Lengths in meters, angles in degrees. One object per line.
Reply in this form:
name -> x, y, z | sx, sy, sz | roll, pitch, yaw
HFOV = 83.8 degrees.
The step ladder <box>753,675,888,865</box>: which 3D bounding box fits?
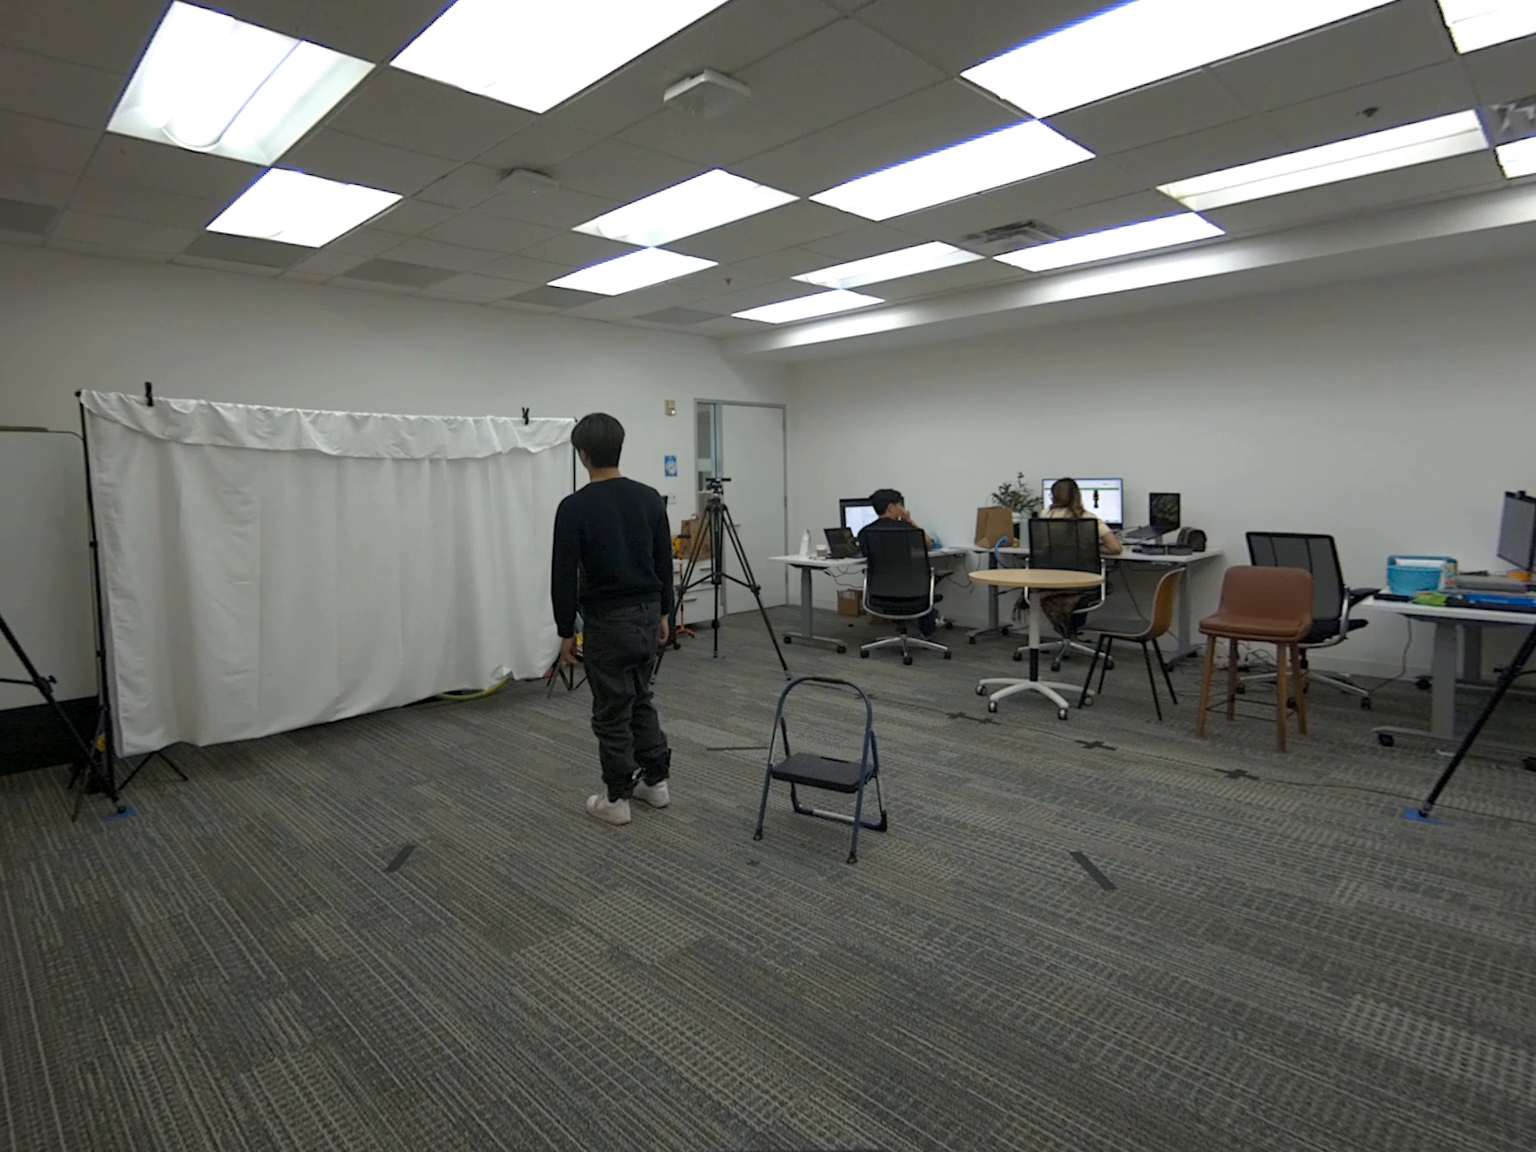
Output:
step ladder -> 0.209, 0.708, 3.316 | 0.442, 0.603, 0.341 | 2, 5, 31
